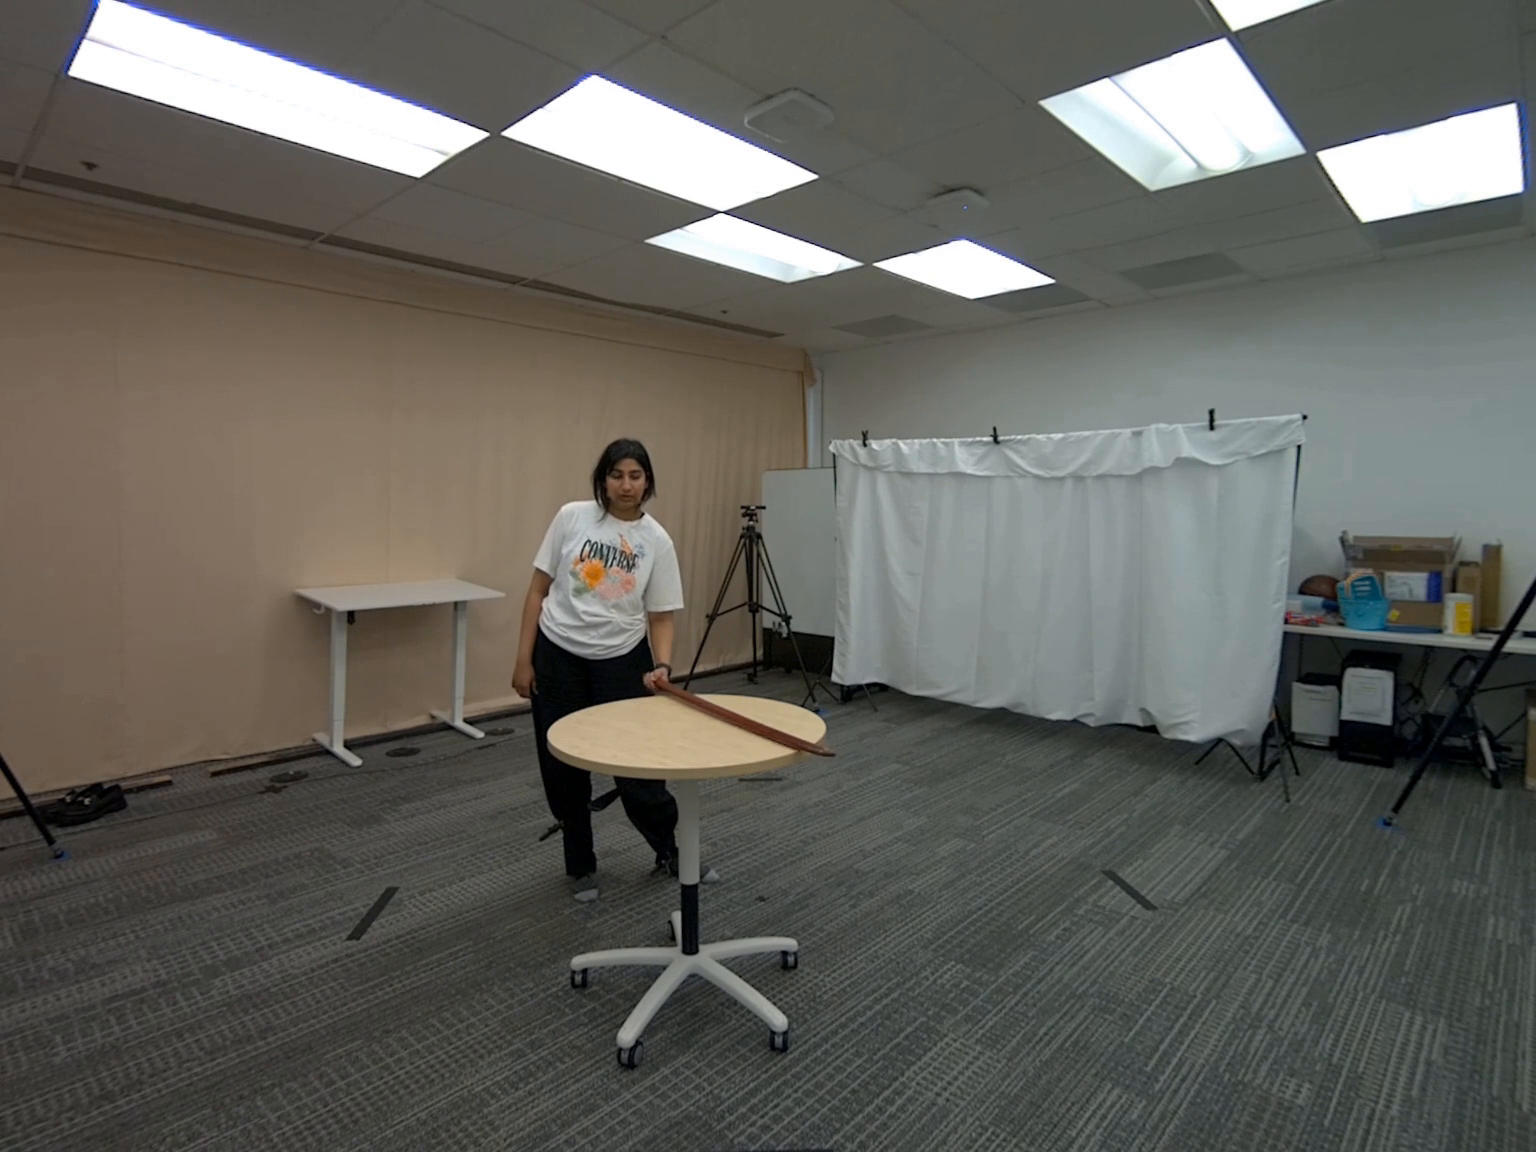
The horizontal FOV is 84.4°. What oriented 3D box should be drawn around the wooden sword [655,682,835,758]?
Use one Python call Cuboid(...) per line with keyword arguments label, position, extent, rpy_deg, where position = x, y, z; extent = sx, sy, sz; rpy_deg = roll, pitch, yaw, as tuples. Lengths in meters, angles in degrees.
Cuboid(label="wooden sword", position=(-0.131, 0.383, 2.456), extent=(0.050, 0.024, 1.054), rpy_deg=(2, 3, -30))
